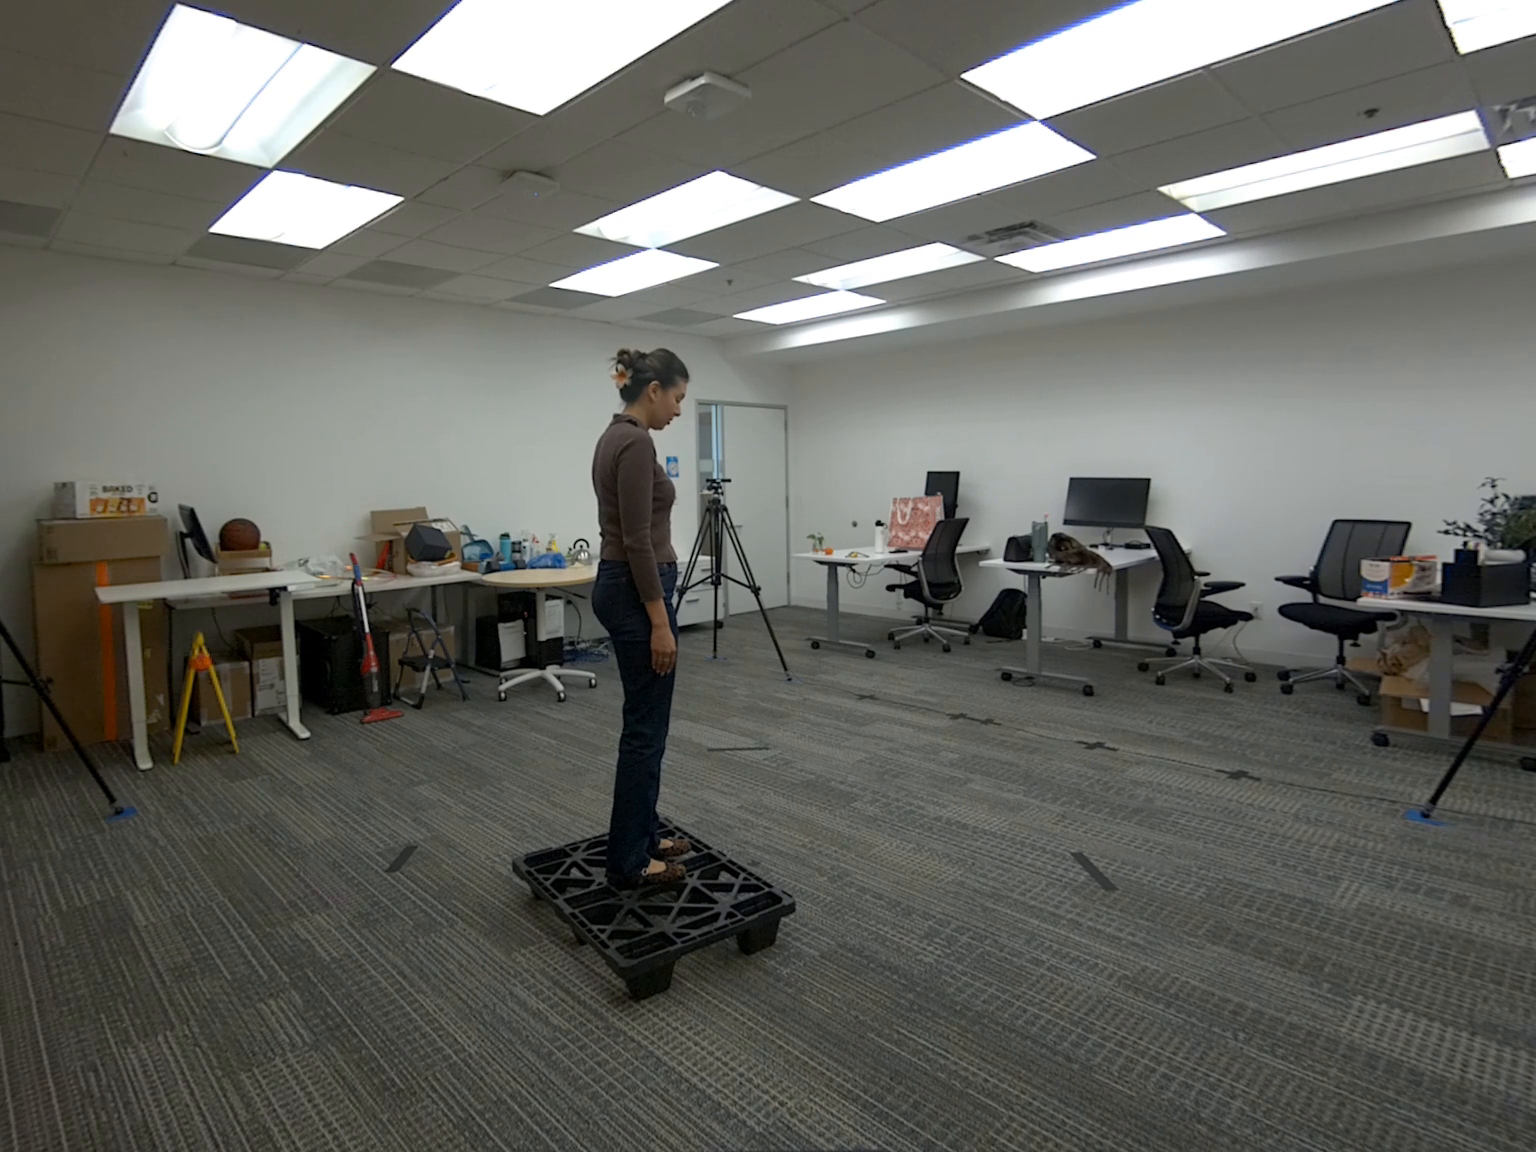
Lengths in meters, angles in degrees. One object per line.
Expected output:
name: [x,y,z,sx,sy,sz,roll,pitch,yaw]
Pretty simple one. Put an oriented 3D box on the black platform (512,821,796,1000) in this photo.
black platform: [-0.387,1.027,2.732,0.590,0.142,0.830,-5,8,-36]
